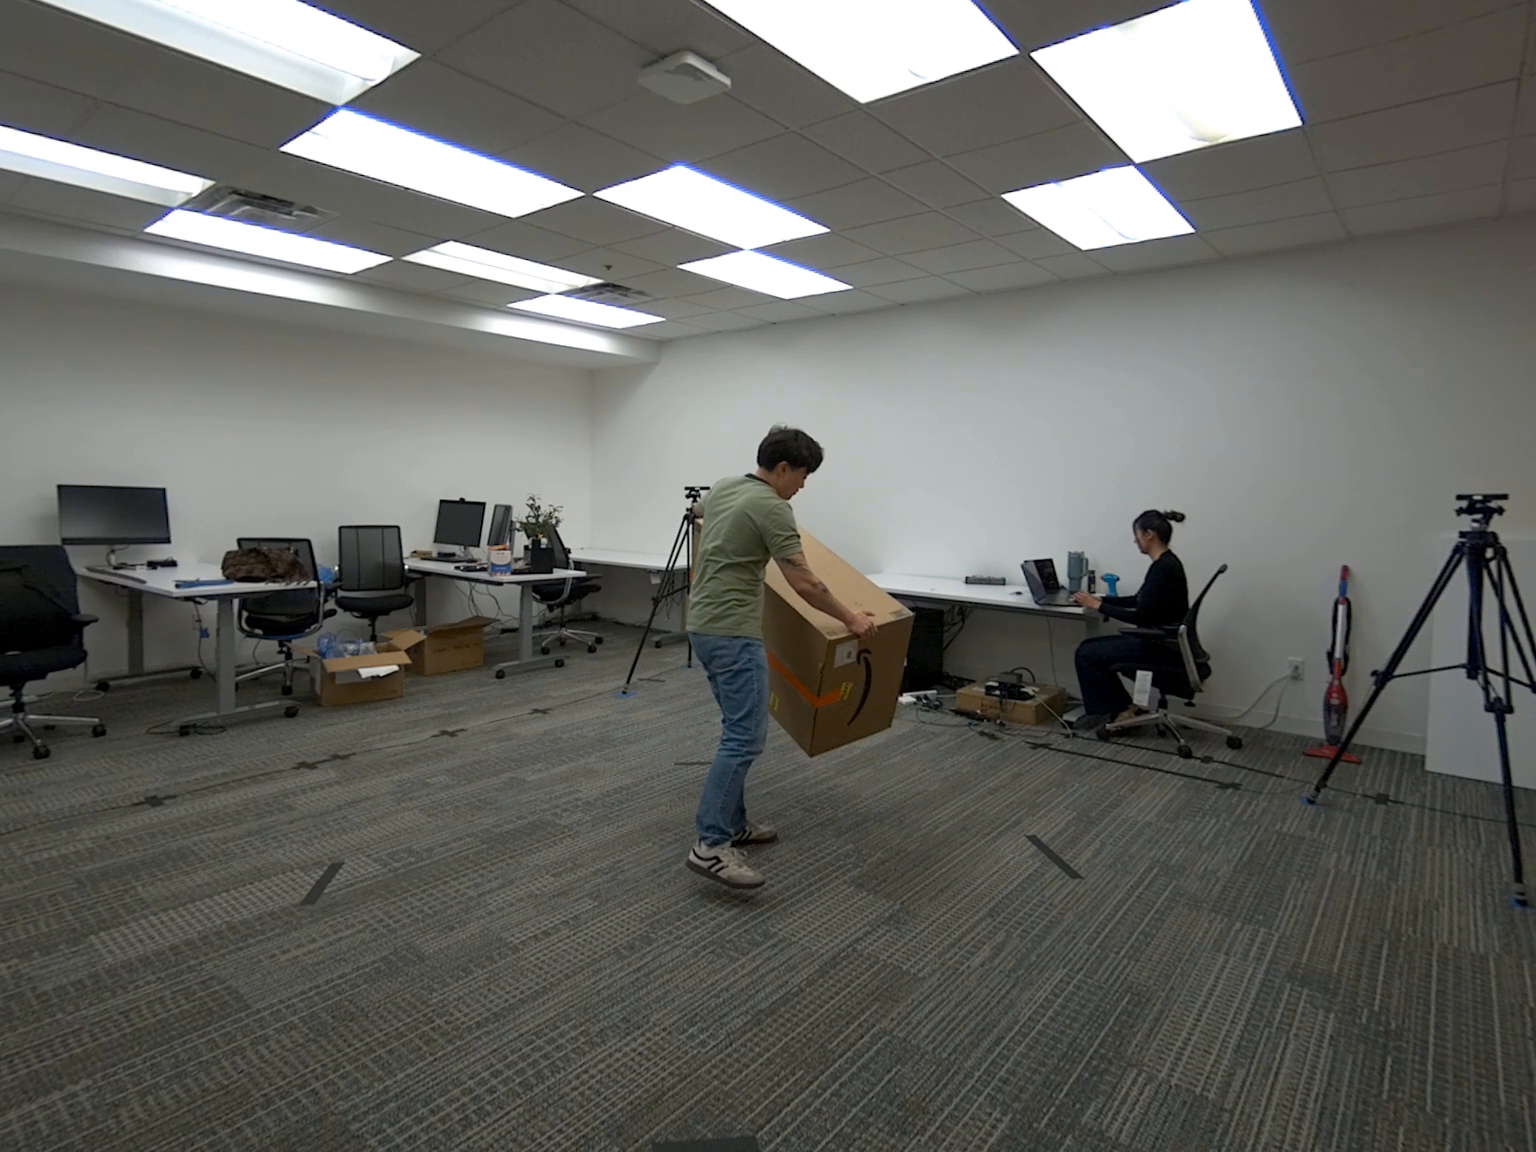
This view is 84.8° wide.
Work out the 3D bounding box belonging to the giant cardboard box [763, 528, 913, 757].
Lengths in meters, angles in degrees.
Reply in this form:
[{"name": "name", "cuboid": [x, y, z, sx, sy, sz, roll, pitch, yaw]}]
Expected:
[{"name": "giant cardboard box", "cuboid": [0.102, 0.201, 3.721, 0.417, 0.565, 1.070, -12, 34, -31]}]
